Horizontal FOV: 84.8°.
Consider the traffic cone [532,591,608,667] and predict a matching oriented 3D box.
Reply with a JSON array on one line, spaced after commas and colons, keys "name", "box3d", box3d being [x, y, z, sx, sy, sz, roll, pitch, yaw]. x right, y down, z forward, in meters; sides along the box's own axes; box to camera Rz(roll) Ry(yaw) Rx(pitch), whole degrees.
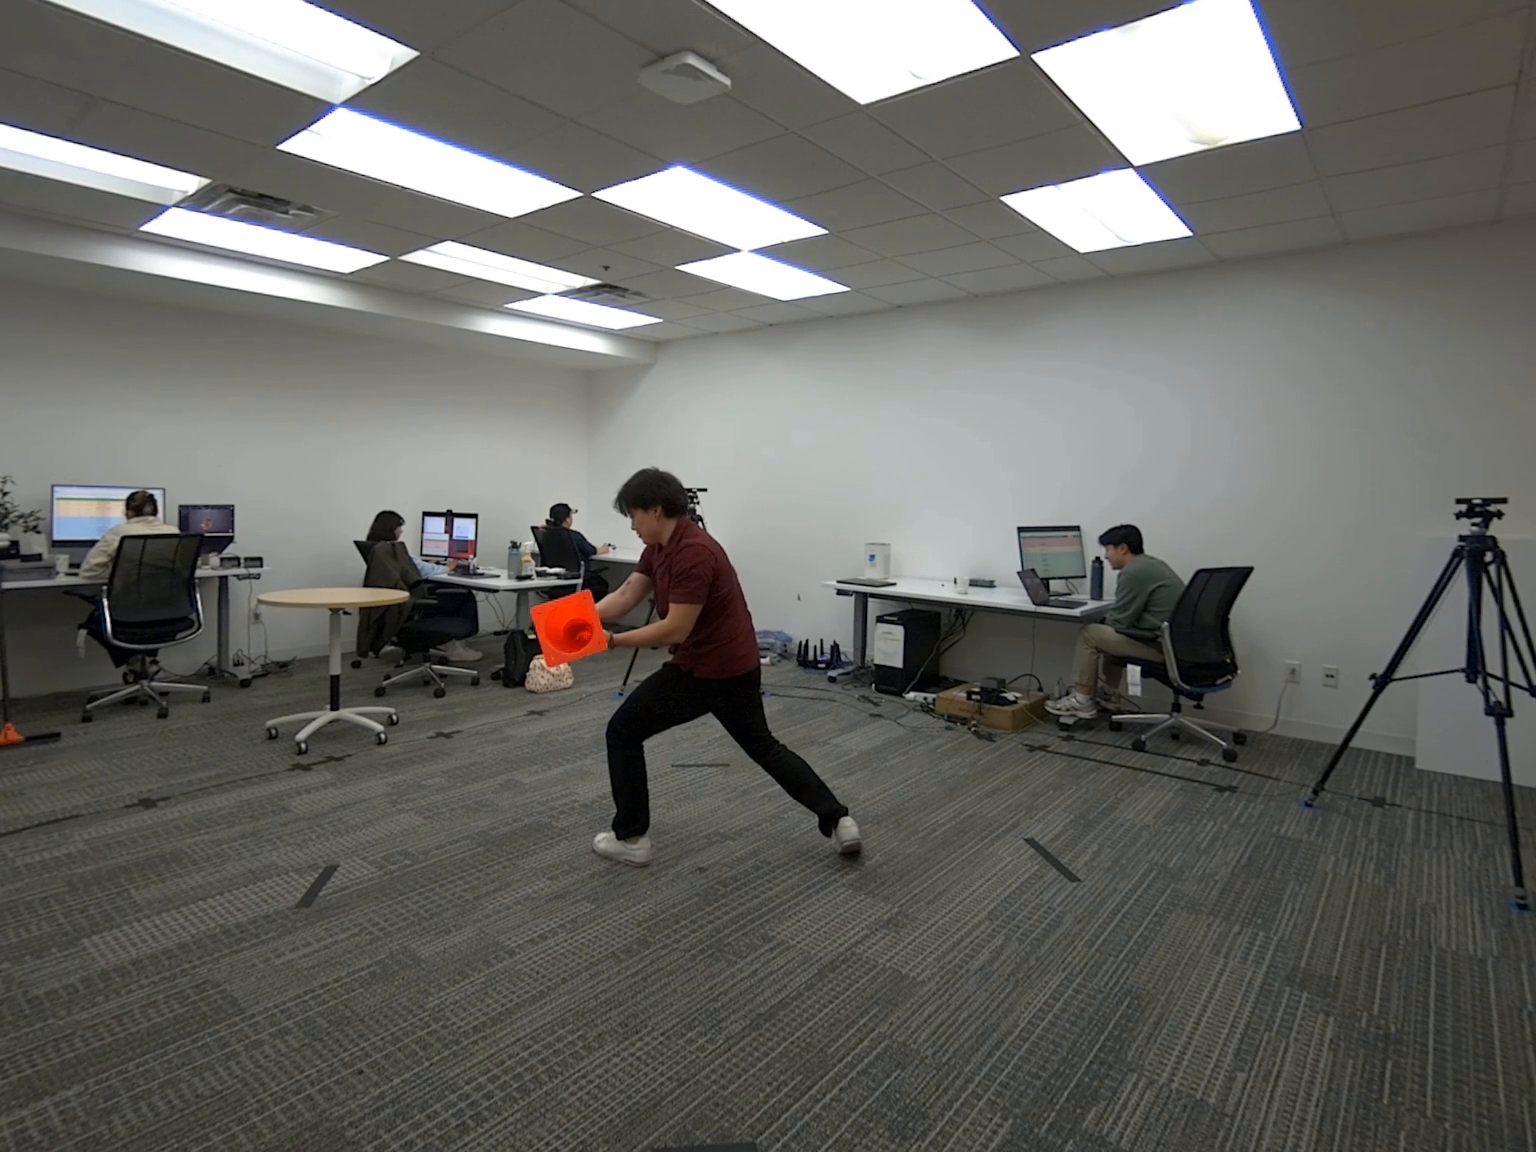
[{"name": "traffic cone", "box3d": [-0.648, 0.198, 2.840, 0.204, 0.206, 0.379, -16, -10, -5]}]
